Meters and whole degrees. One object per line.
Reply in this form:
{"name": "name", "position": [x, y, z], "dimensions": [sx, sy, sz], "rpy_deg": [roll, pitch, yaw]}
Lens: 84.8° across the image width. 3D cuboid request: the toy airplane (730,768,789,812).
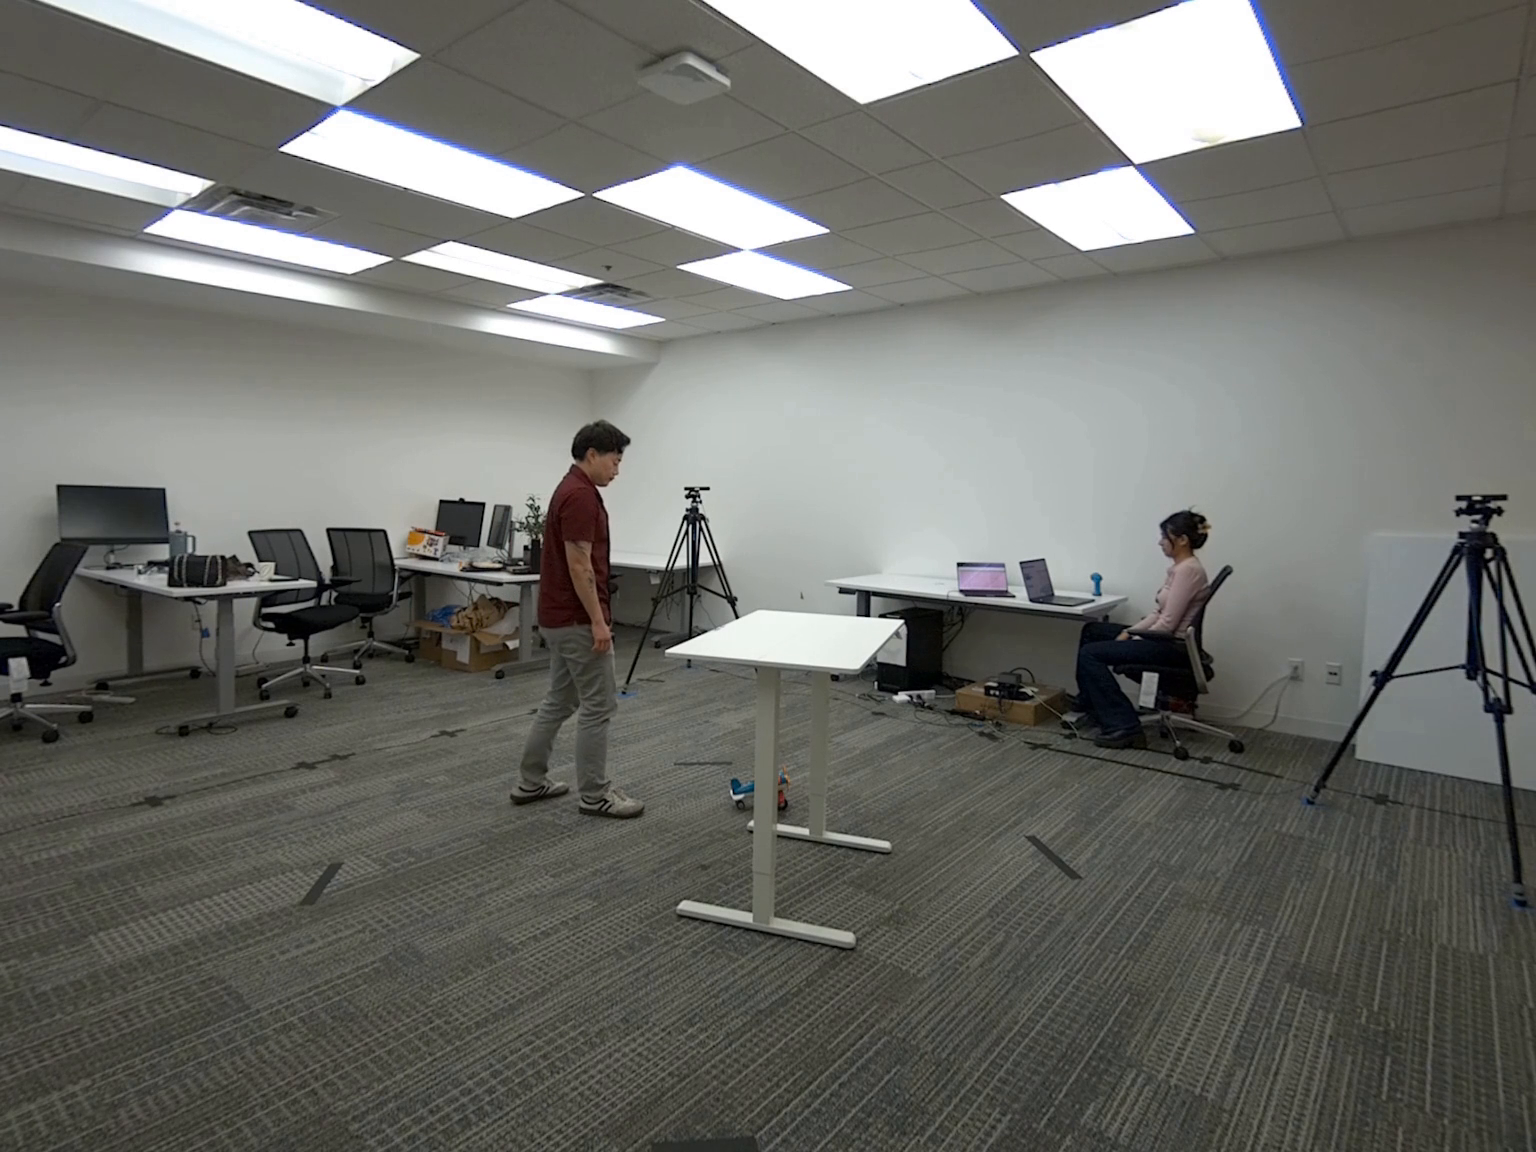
{"name": "toy airplane", "position": [-0.036, 0.936, 3.712], "dimensions": [0.251, 0.156, 0.259], "rpy_deg": [-2, 6, -36]}
